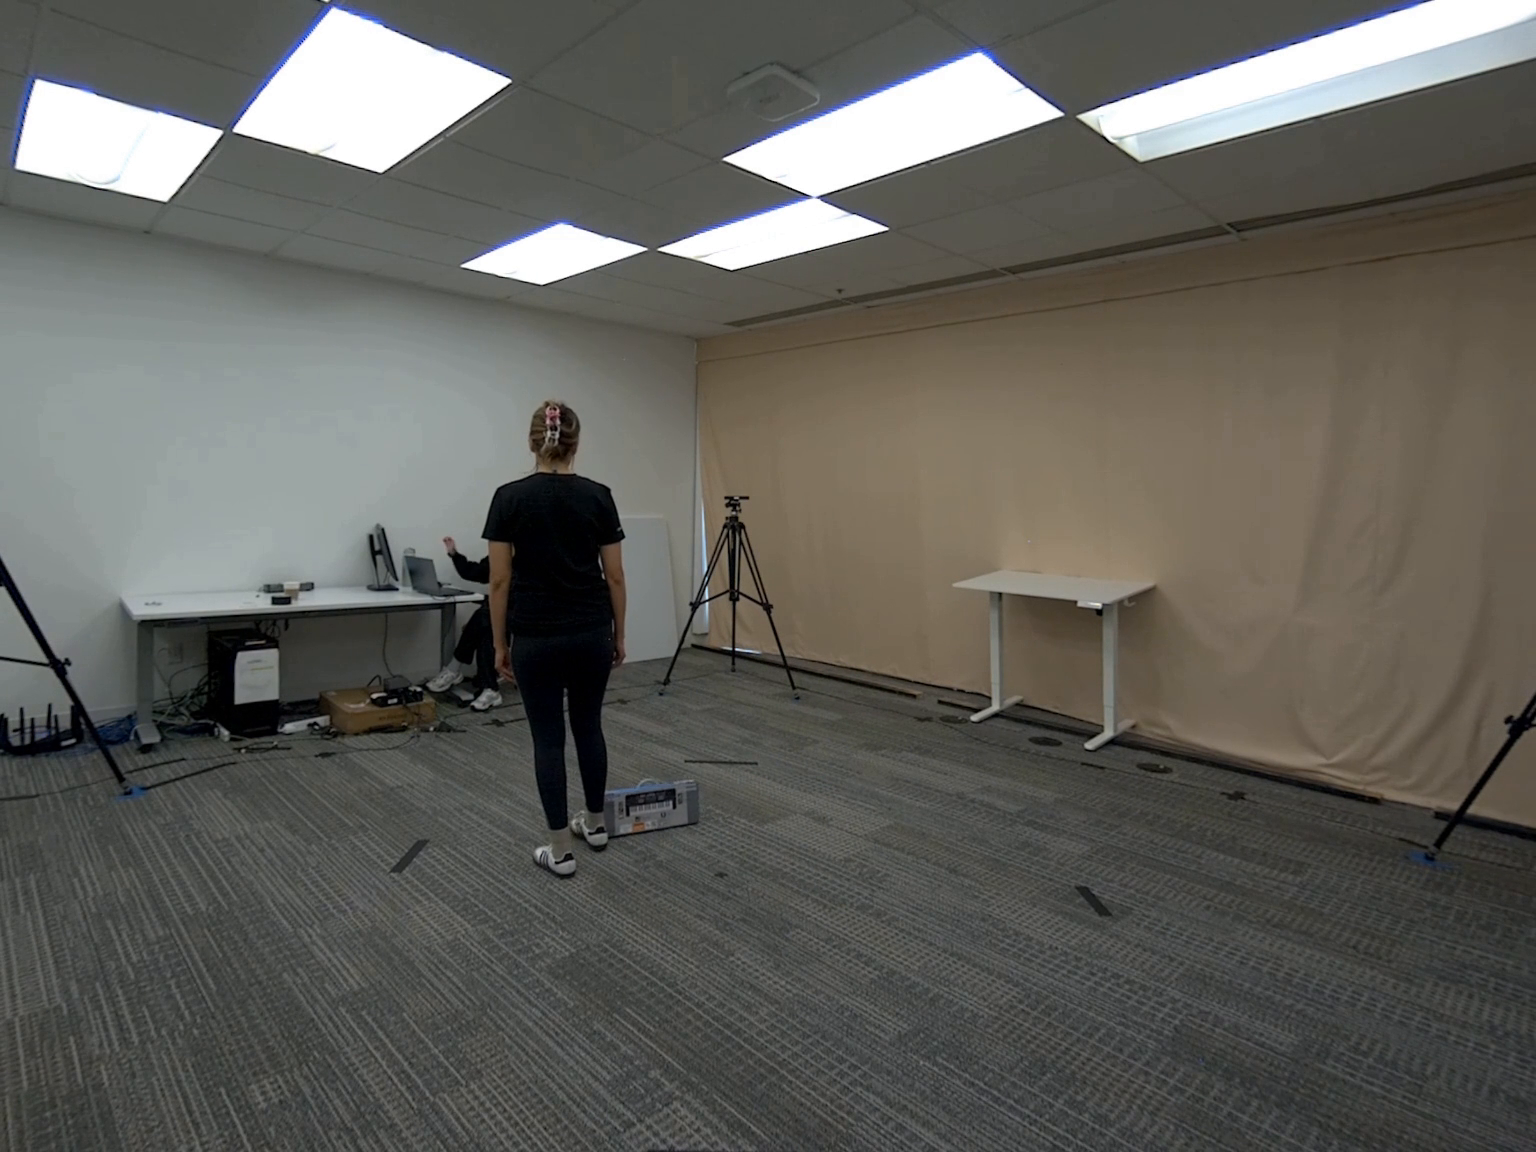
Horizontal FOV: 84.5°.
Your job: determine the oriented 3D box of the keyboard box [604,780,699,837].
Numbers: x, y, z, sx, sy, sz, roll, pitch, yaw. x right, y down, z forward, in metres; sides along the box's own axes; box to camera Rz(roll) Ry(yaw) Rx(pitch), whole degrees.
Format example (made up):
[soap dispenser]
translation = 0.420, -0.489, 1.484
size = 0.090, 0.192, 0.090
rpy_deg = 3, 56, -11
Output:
[keyboard box]
translation = -0.504, 0.972, 3.520
size = 0.428, 0.177, 0.060
rpy_deg = -1, -6, -29
